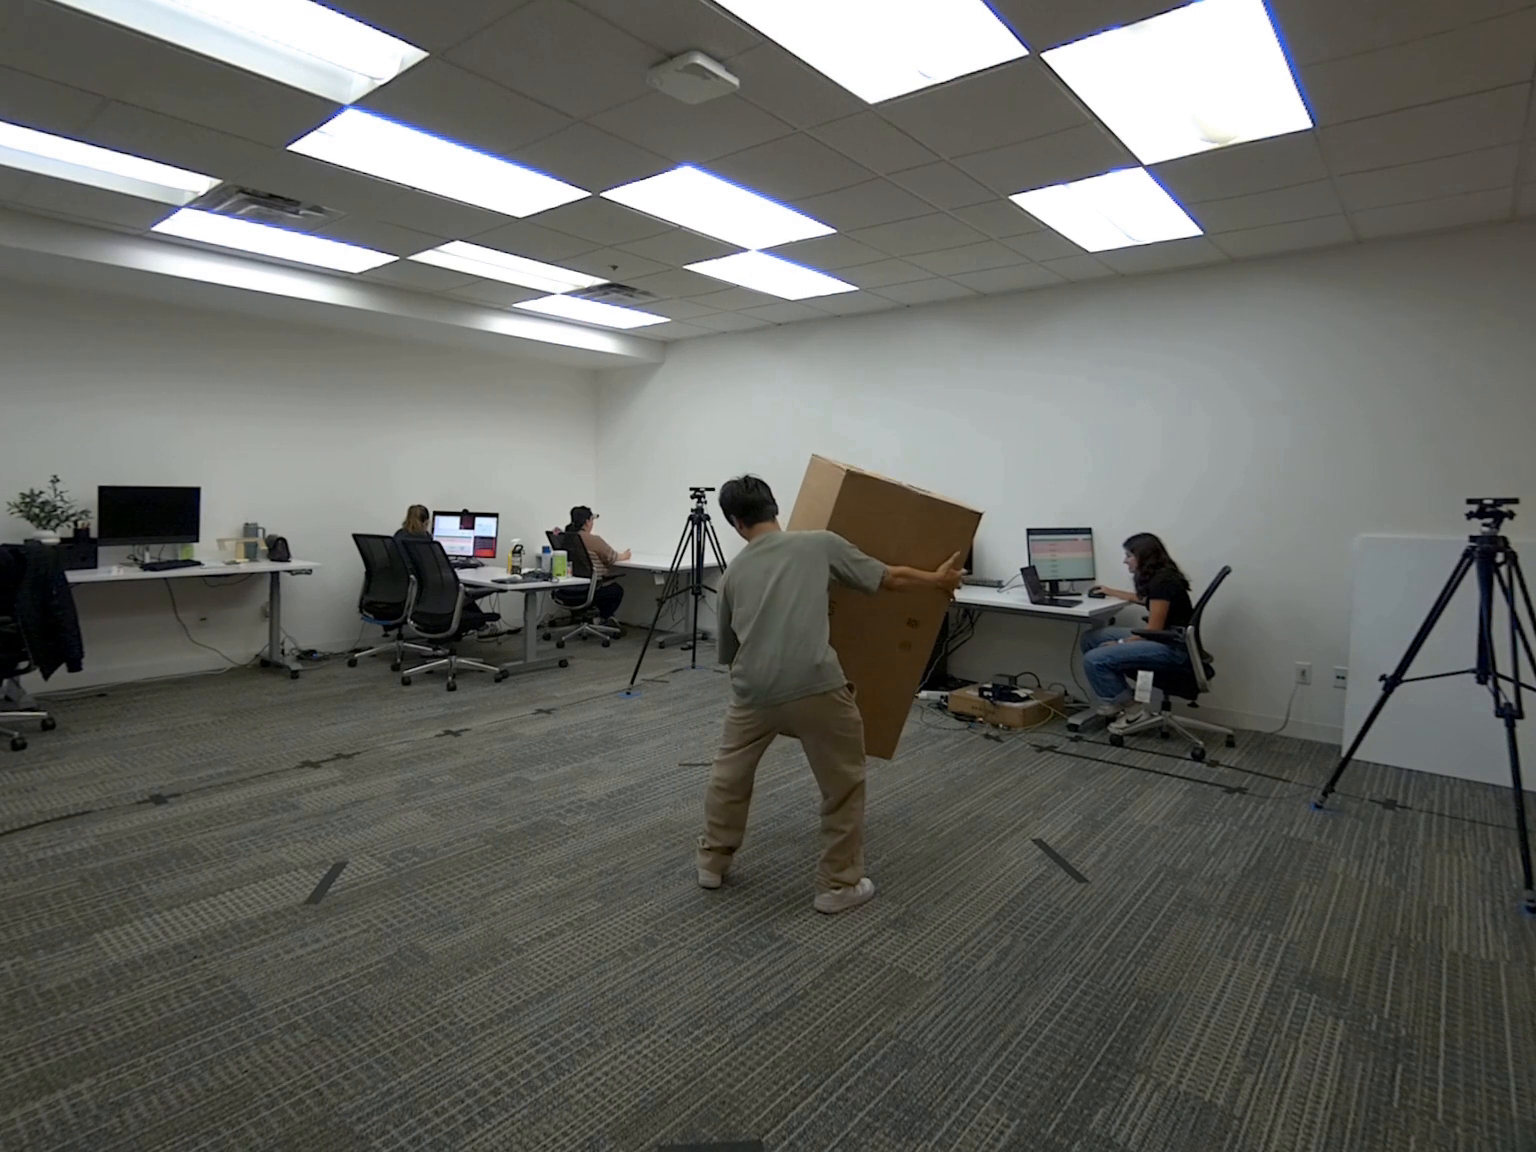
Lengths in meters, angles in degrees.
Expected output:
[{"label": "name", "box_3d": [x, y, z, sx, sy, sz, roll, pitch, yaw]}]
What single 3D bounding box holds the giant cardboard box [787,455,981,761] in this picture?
[{"label": "giant cardboard box", "box_3d": [0.322, 0.110, 3.344, 0.568, 1.020, 0.436, 15, 10, -14]}]
